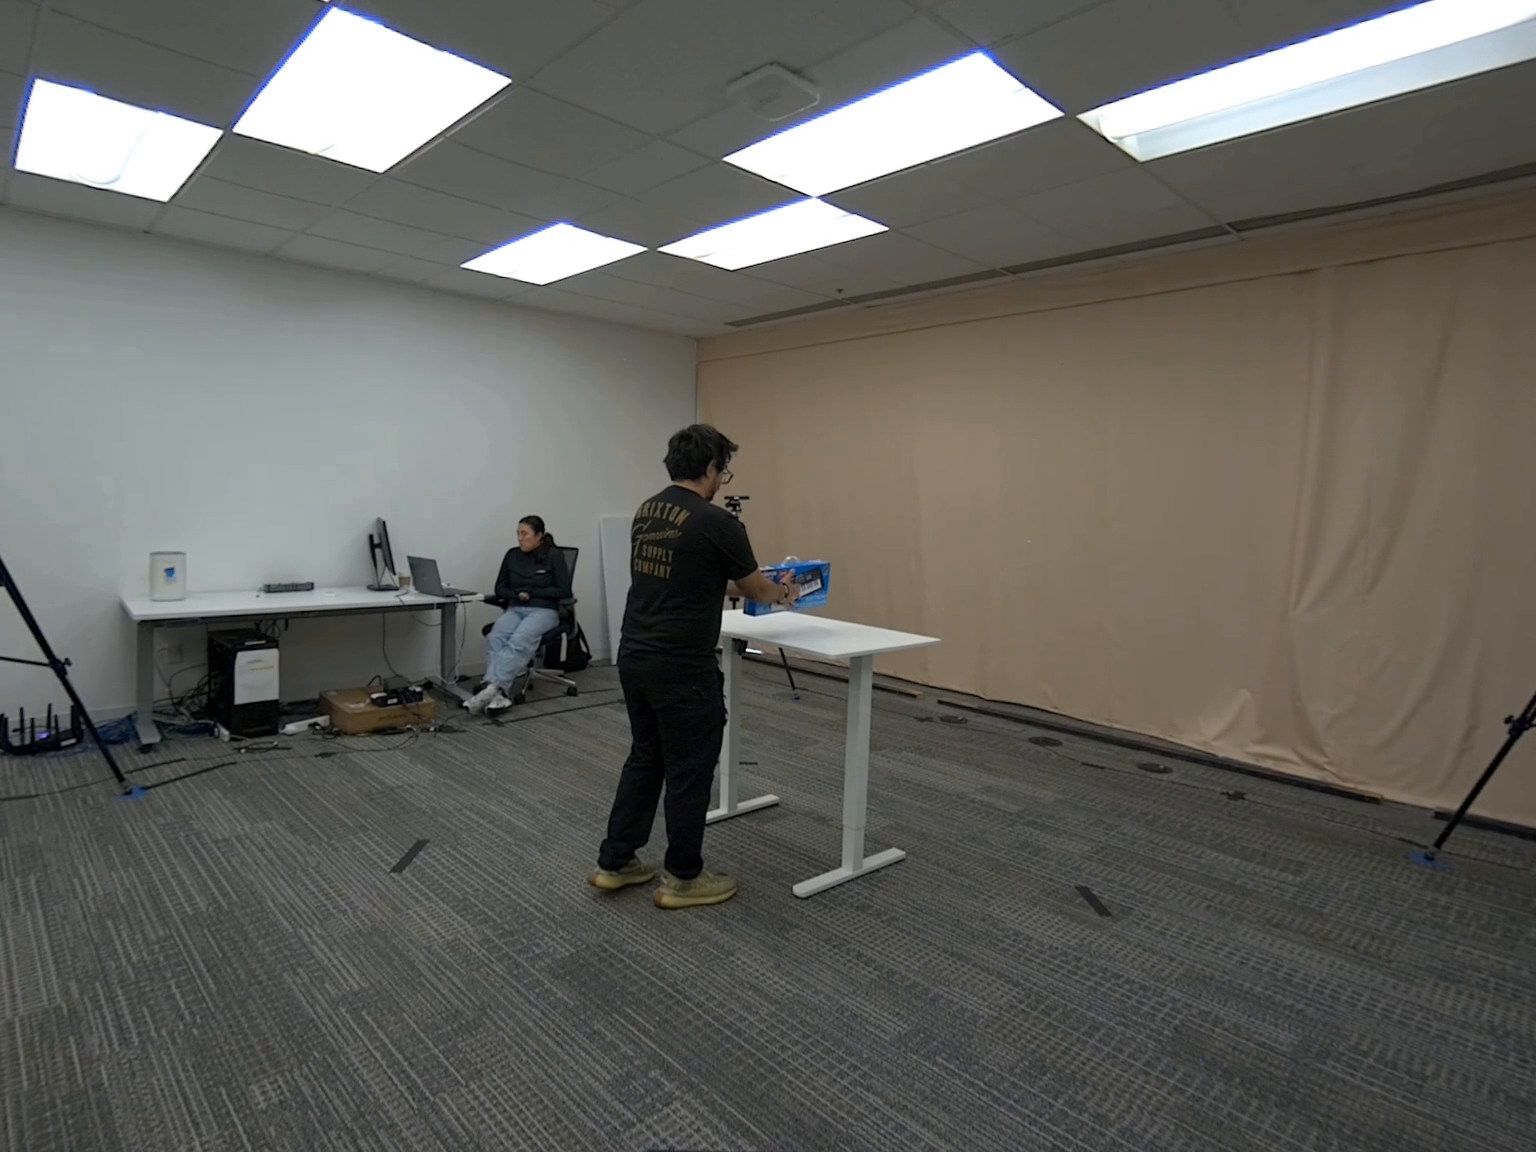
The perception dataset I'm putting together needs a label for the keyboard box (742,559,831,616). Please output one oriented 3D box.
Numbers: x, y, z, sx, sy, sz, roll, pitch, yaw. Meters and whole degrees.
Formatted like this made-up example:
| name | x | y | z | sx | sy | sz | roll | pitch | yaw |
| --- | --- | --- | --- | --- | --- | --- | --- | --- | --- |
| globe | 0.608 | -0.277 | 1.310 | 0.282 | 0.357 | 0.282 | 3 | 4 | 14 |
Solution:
| name | x | y | z | sx | sy | sz | roll | pitch | yaw |
| --- | --- | --- | --- | --- | --- | --- | --- | --- | --- |
| keyboard box | 0.076 | 0.046 | 3.219 | 0.061 | 0.175 | 0.428 | 12 | 13 | 39 |
